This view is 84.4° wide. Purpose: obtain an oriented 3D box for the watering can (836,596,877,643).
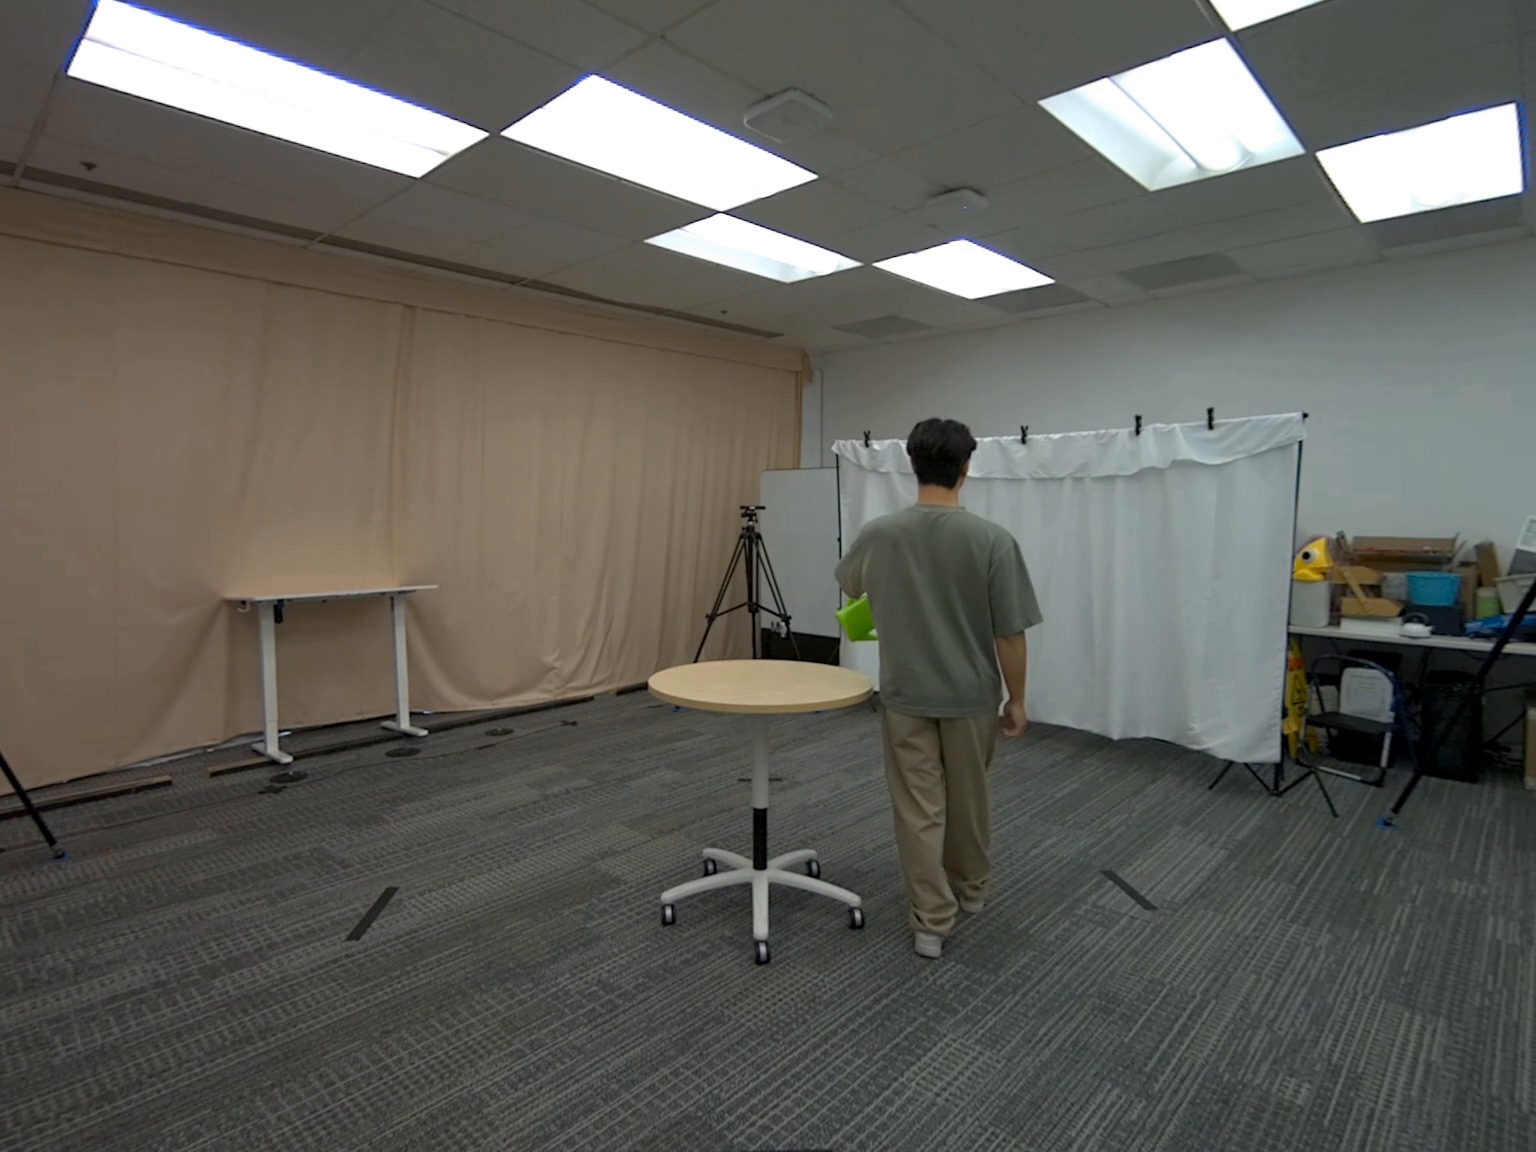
[{"bbox_3d":[0.394,0.189,3.157,0.177,0.281,0.097,-33,-10,2],"label":"watering can"}]
